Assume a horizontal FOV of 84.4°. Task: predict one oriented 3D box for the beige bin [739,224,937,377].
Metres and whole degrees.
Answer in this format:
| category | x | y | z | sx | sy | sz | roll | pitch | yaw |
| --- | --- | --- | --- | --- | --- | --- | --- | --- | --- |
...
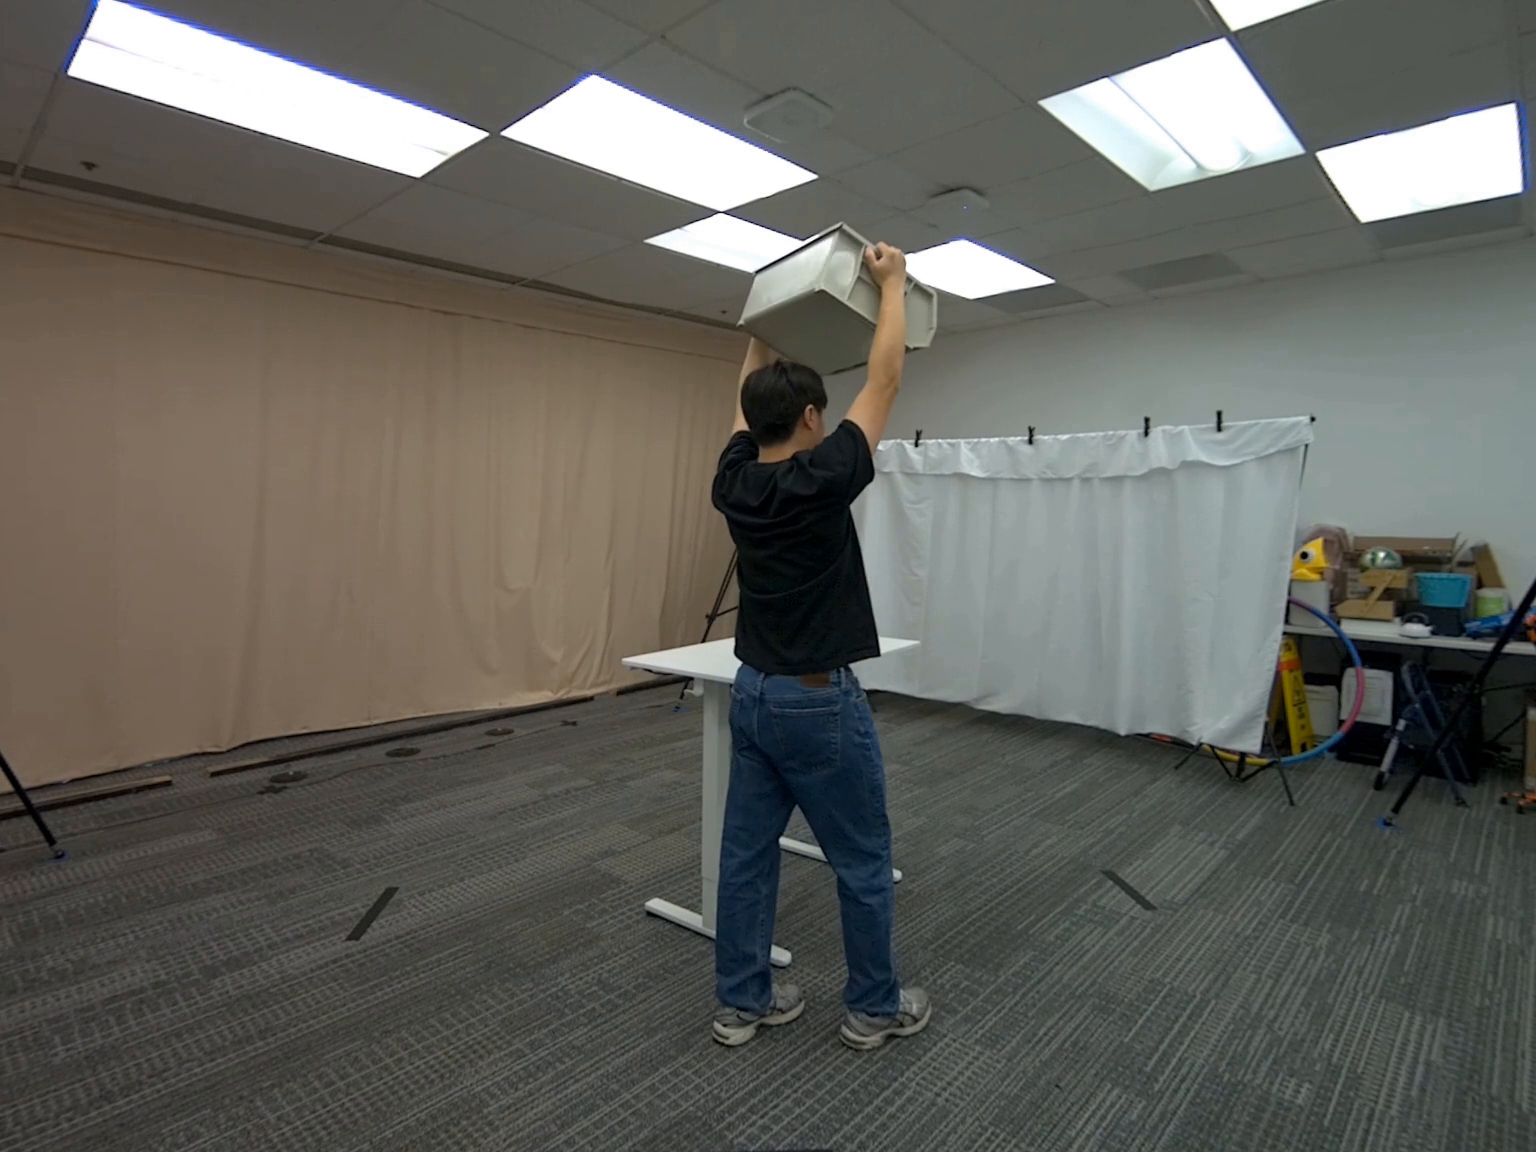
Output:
| category | x | y | z | sx | sy | sz | roll | pitch | yaw |
| --- | --- | --- | --- | --- | --- | --- | --- | --- | --- |
| beige bin | 0.192 | -0.720 | 2.309 | 0.366 | 0.189 | 0.434 | 26 | -12 | -29 |
